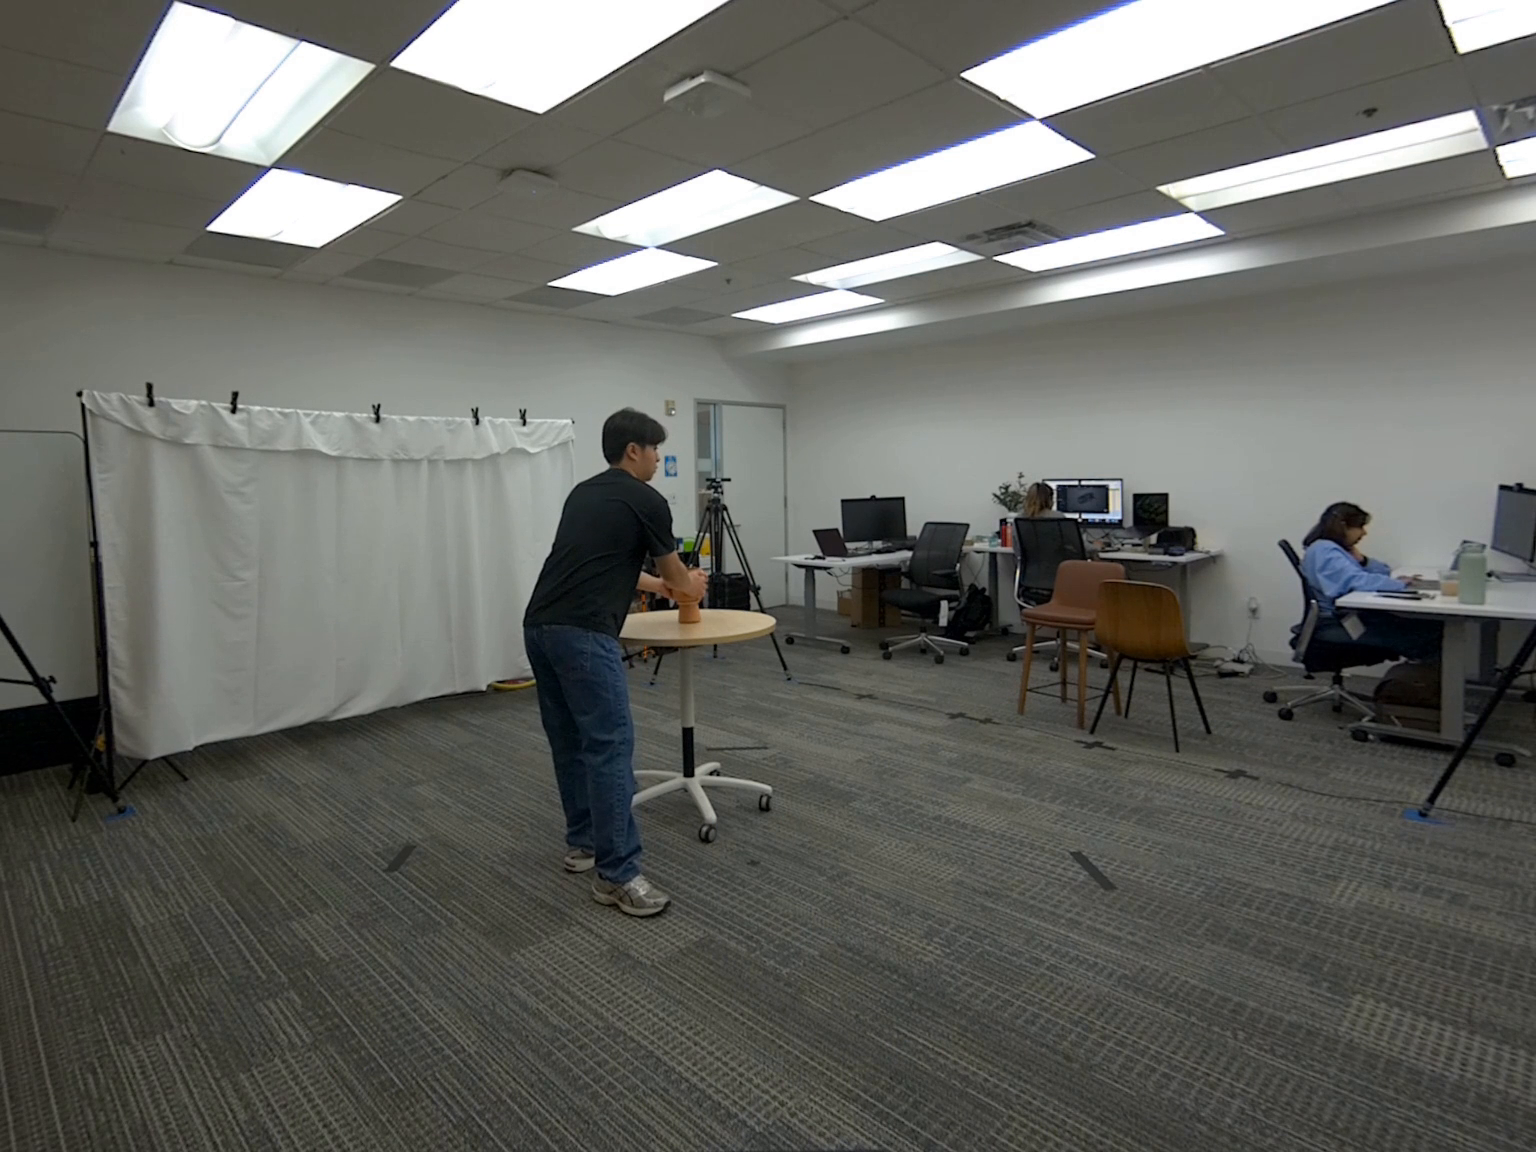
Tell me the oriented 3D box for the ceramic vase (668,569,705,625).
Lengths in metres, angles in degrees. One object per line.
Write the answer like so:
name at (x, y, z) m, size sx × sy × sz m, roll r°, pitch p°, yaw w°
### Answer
ceramic vase at (-0.341, 0.084, 3.611) m, size 0.160 × 0.219 × 0.134 m, roll -5°, pitch 4°, yaw 8°
